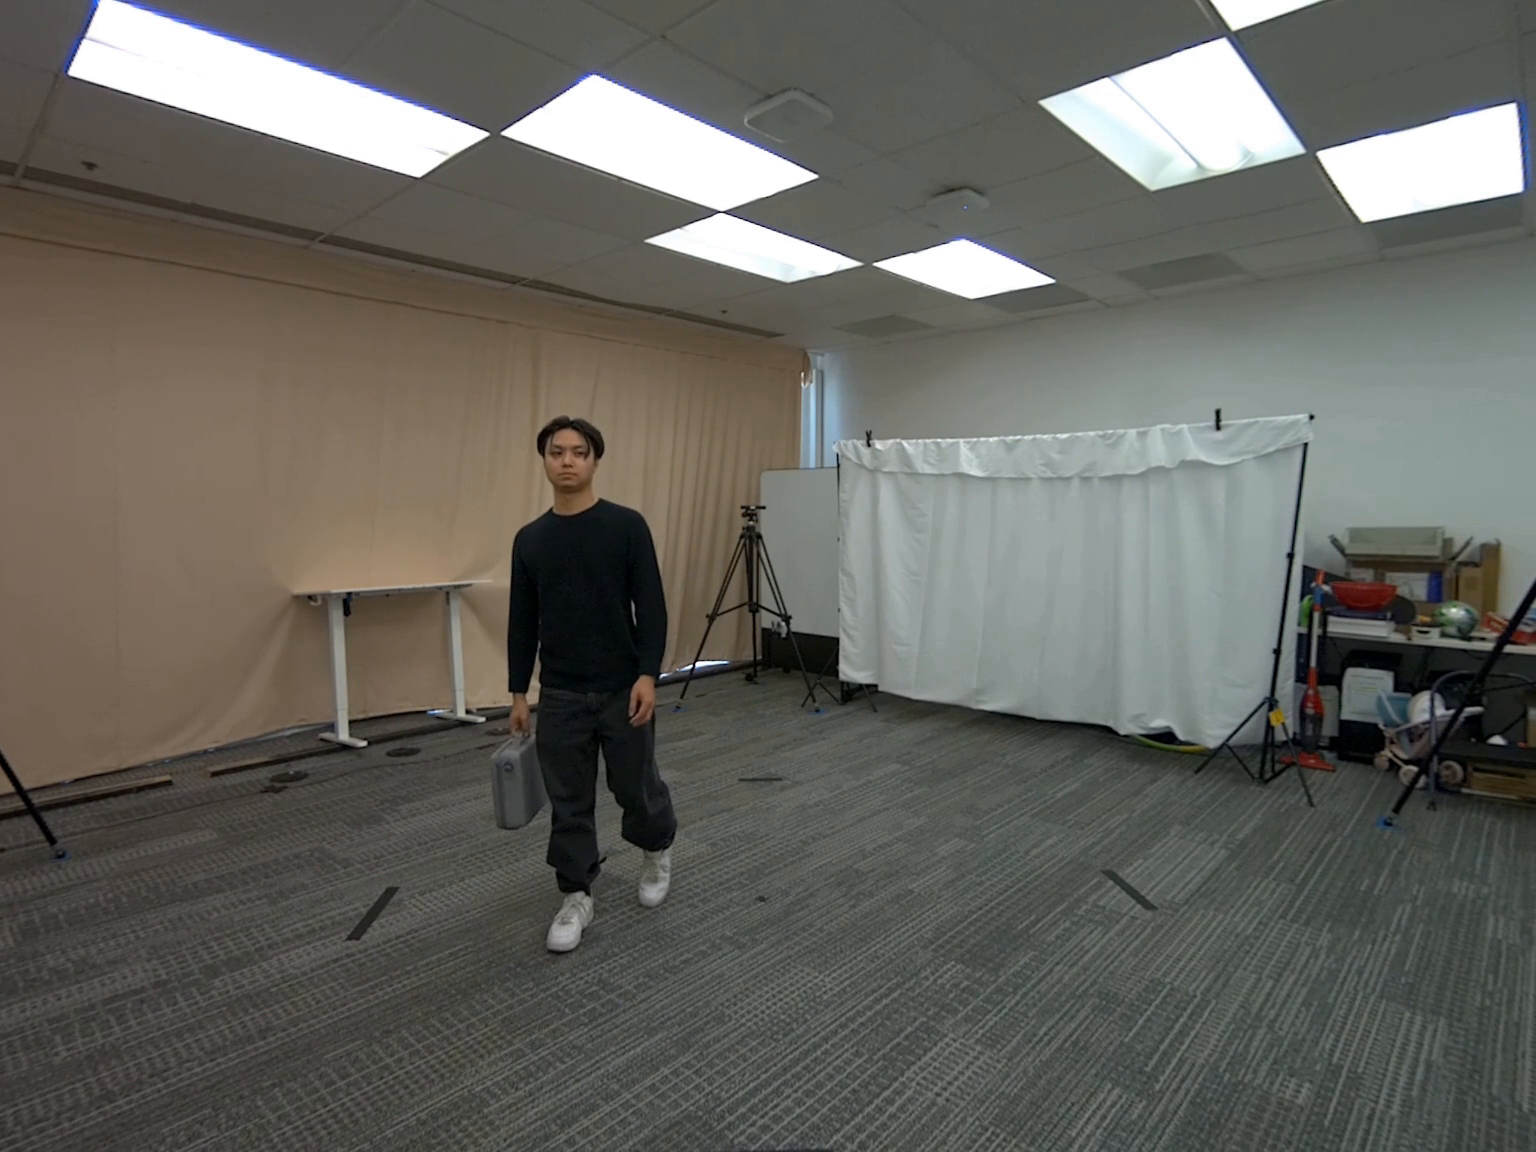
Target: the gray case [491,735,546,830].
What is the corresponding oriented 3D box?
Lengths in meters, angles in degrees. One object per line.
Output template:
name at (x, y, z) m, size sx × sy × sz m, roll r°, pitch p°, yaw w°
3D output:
gray case at (-0.809, 0.669, 2.779) m, size 0.105 × 0.260 × 0.256 m, roll -4°, pitch 5°, yaw 5°
